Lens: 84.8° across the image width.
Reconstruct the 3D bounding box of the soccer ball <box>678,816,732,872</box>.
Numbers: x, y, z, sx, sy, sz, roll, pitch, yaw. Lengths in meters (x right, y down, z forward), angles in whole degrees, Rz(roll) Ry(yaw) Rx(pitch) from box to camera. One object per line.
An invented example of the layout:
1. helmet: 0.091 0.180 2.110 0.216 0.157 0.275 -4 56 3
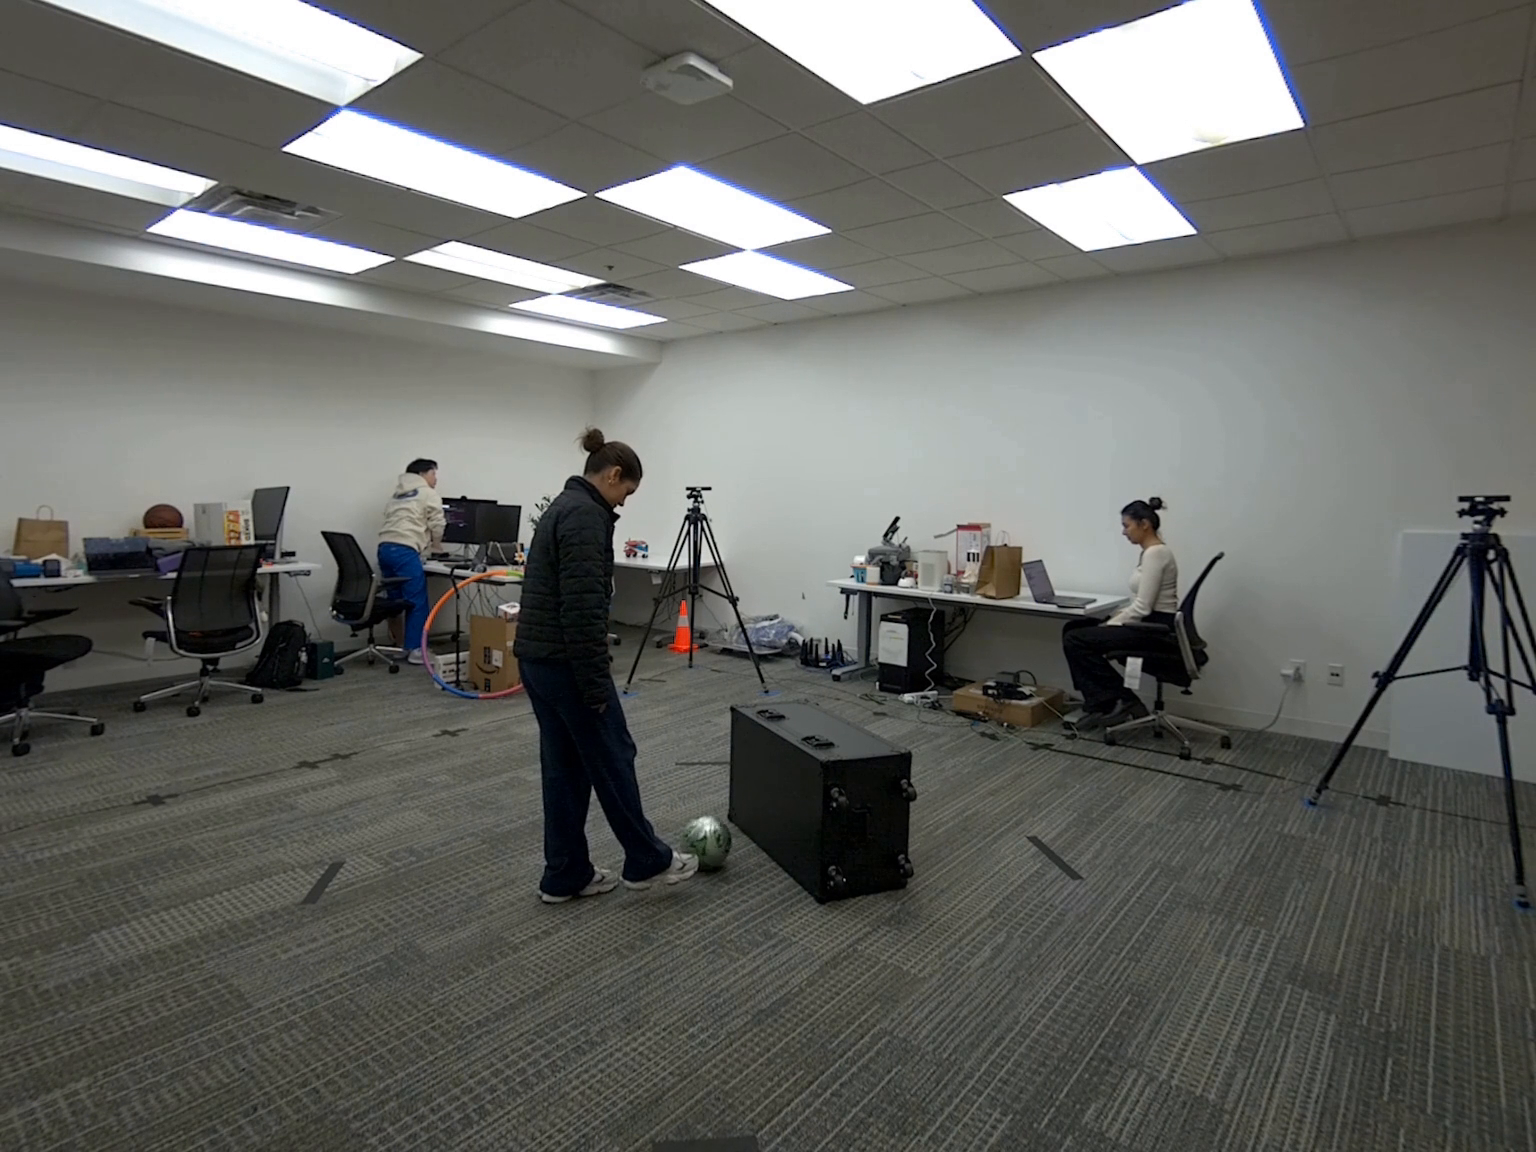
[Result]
1. soccer ball: -0.233 0.970 3.116 0.187 0.187 0.188 1 4 -2
